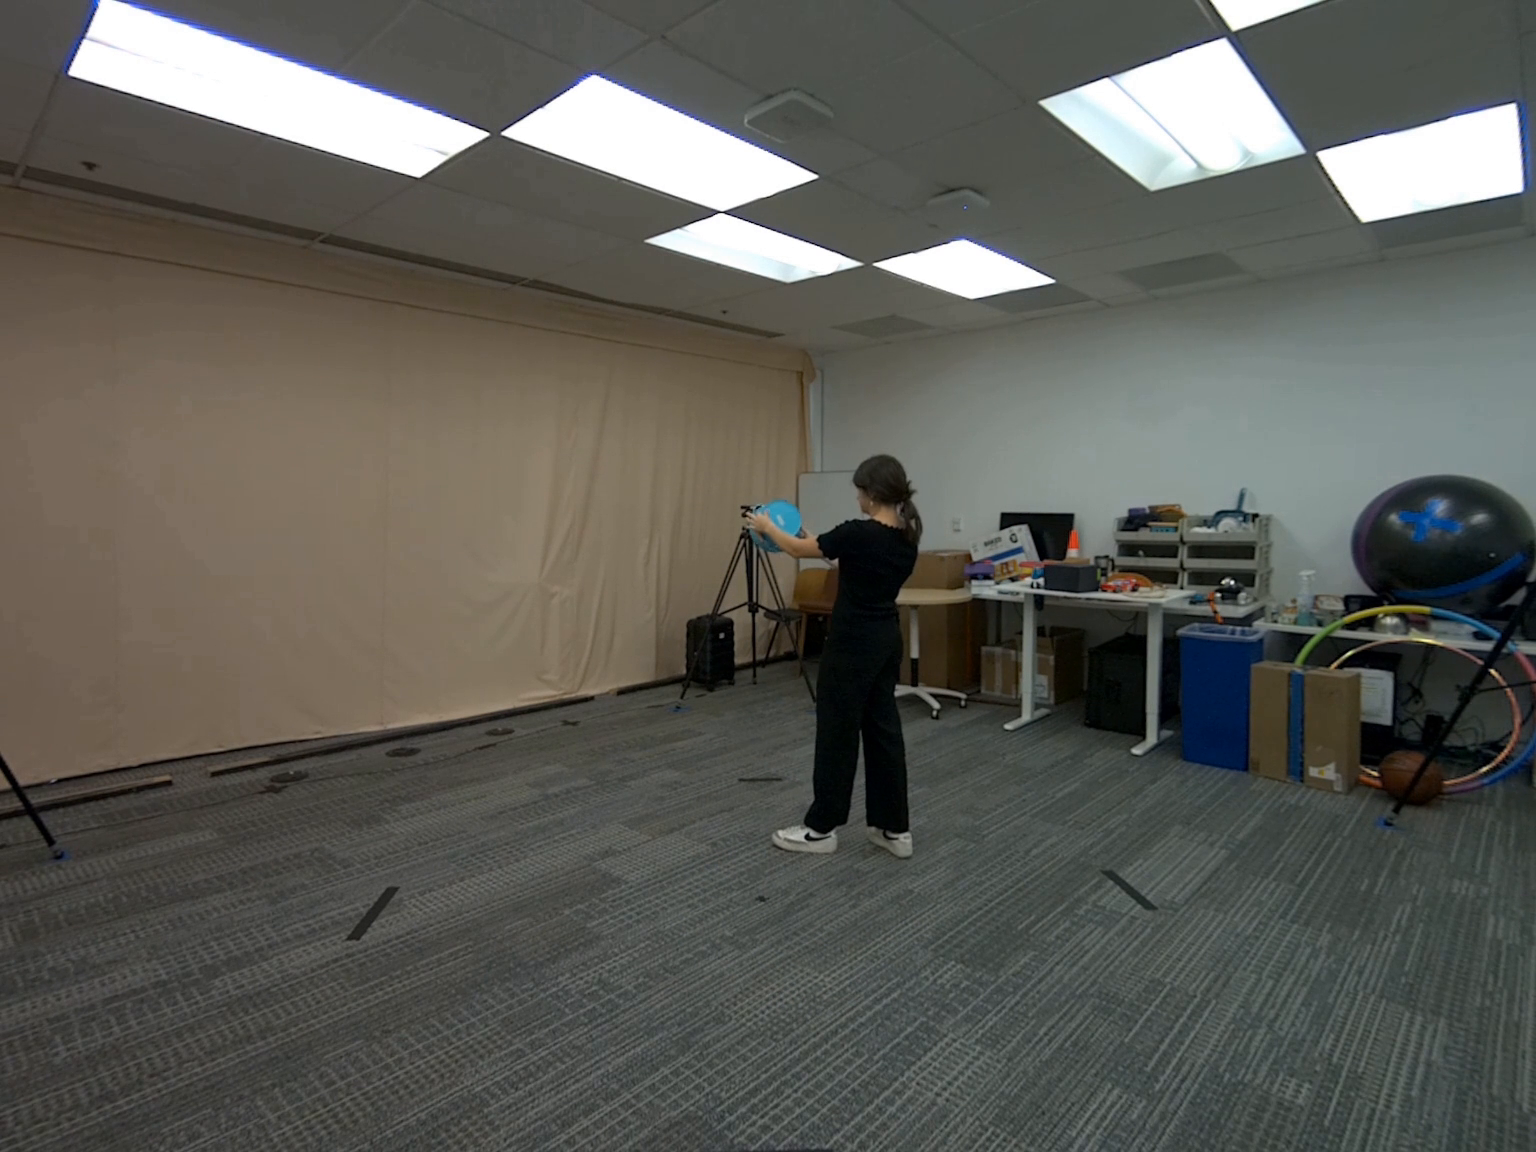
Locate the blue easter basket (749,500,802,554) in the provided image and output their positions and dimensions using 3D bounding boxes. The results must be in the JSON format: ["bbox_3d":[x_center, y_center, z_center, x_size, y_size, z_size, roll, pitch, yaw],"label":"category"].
[{"bbox_3d":[0.038,-0.222,3.744,0.241,0.245,0.156,-1,-12,-9],"label":"blue easter basket"}]
